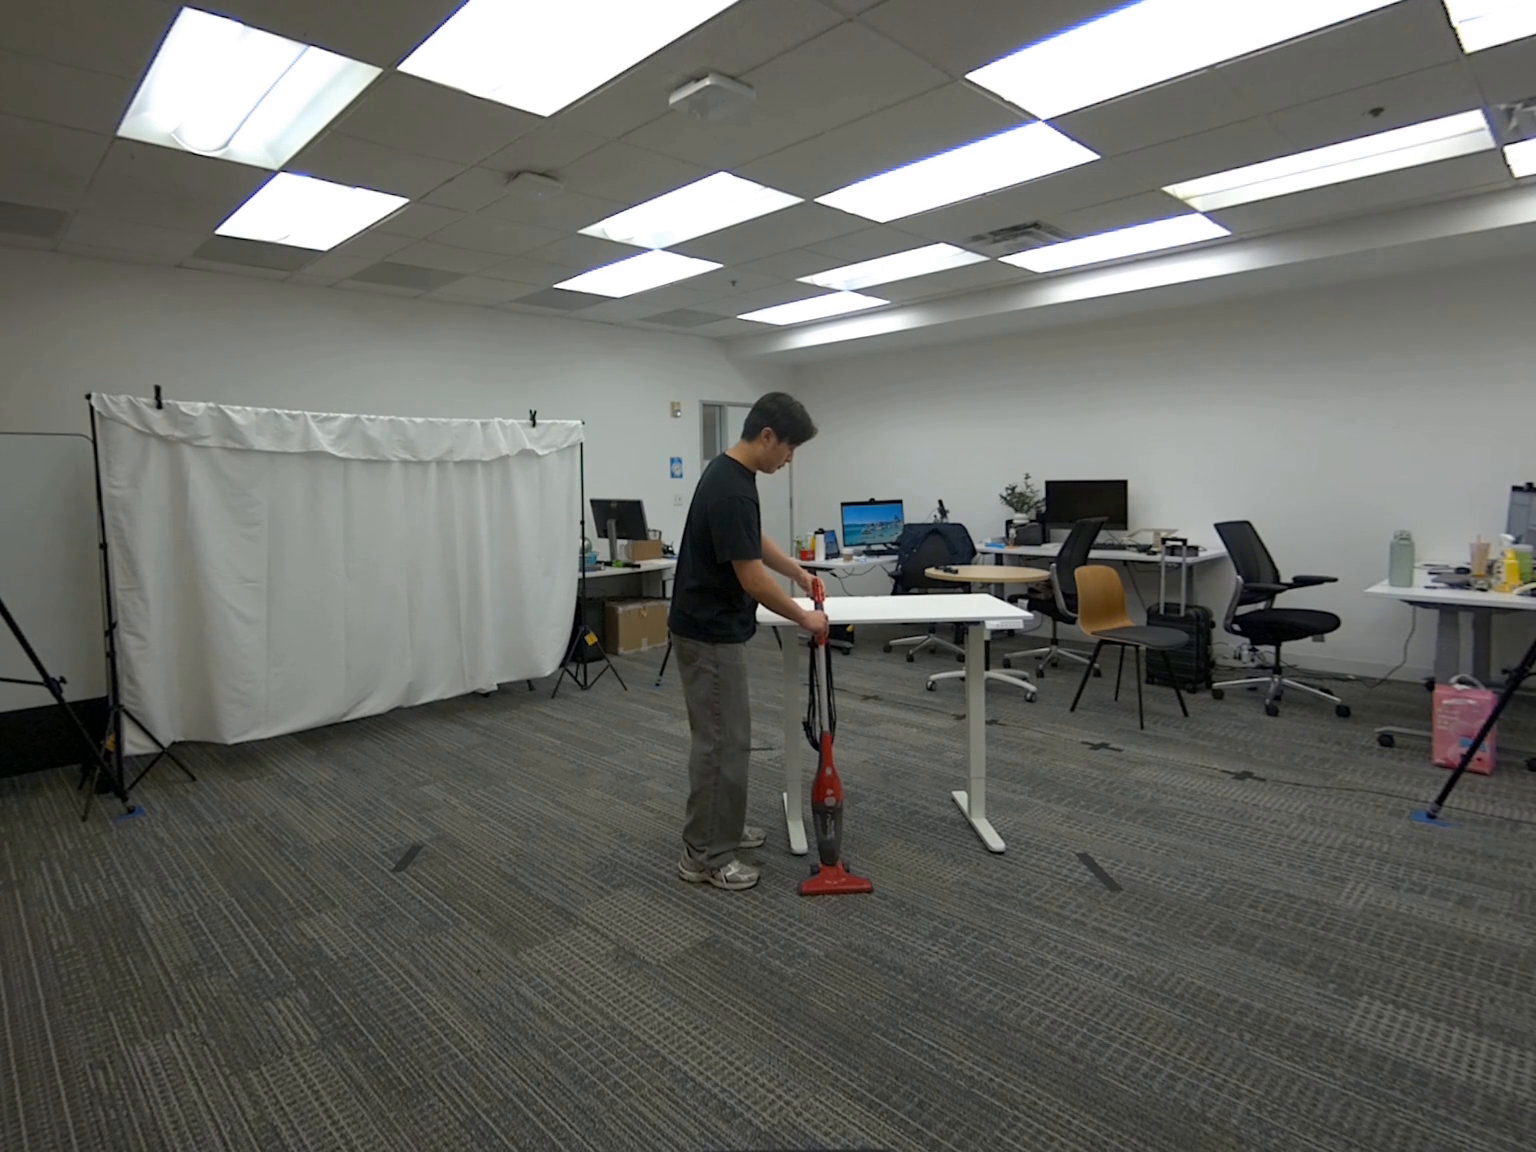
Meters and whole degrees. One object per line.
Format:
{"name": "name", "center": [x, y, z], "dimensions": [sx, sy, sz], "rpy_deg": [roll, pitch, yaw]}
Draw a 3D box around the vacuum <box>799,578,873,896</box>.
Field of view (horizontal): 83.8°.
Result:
{"name": "vacuum", "center": [0.202, 0.537, 3.022], "dimensions": [0.252, 1.059, 0.143], "rpy_deg": [-2, -9, -3]}
